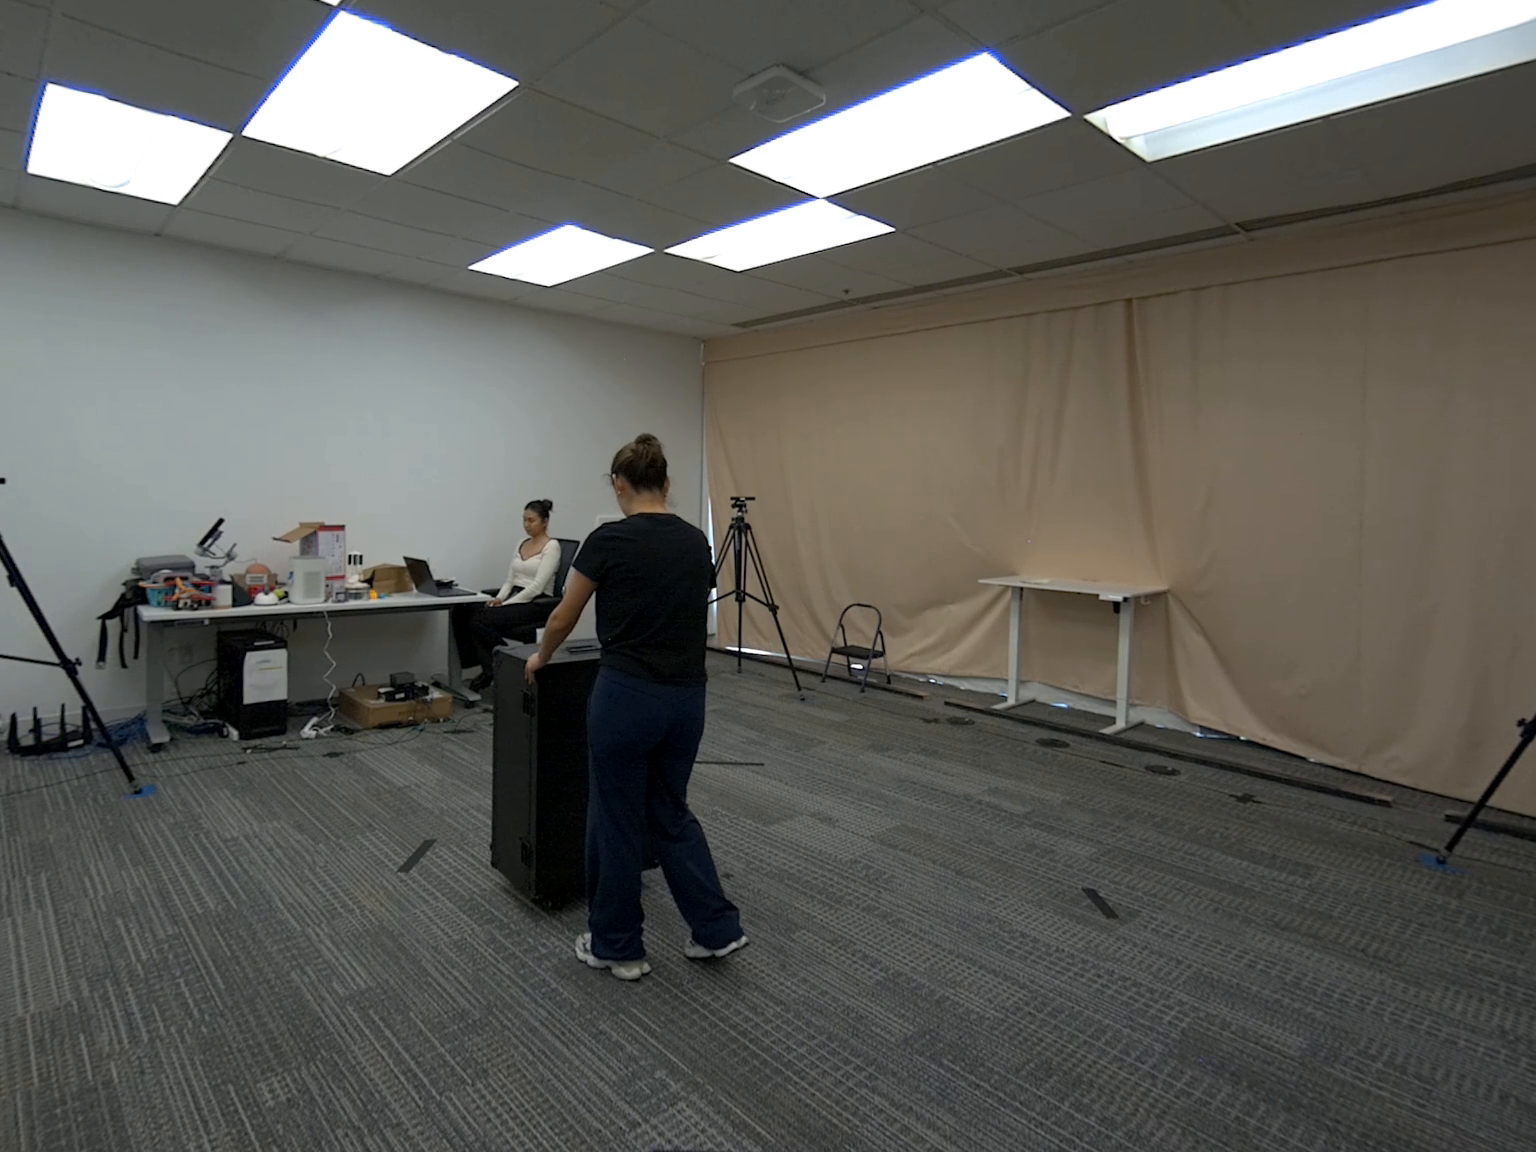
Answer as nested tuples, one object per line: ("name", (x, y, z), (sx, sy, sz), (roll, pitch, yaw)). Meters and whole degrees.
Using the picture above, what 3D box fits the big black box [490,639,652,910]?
("big black box", (-0.687, 0.681, 2.962), (0.509, 0.860, 0.406), (-1, 3, -39))
